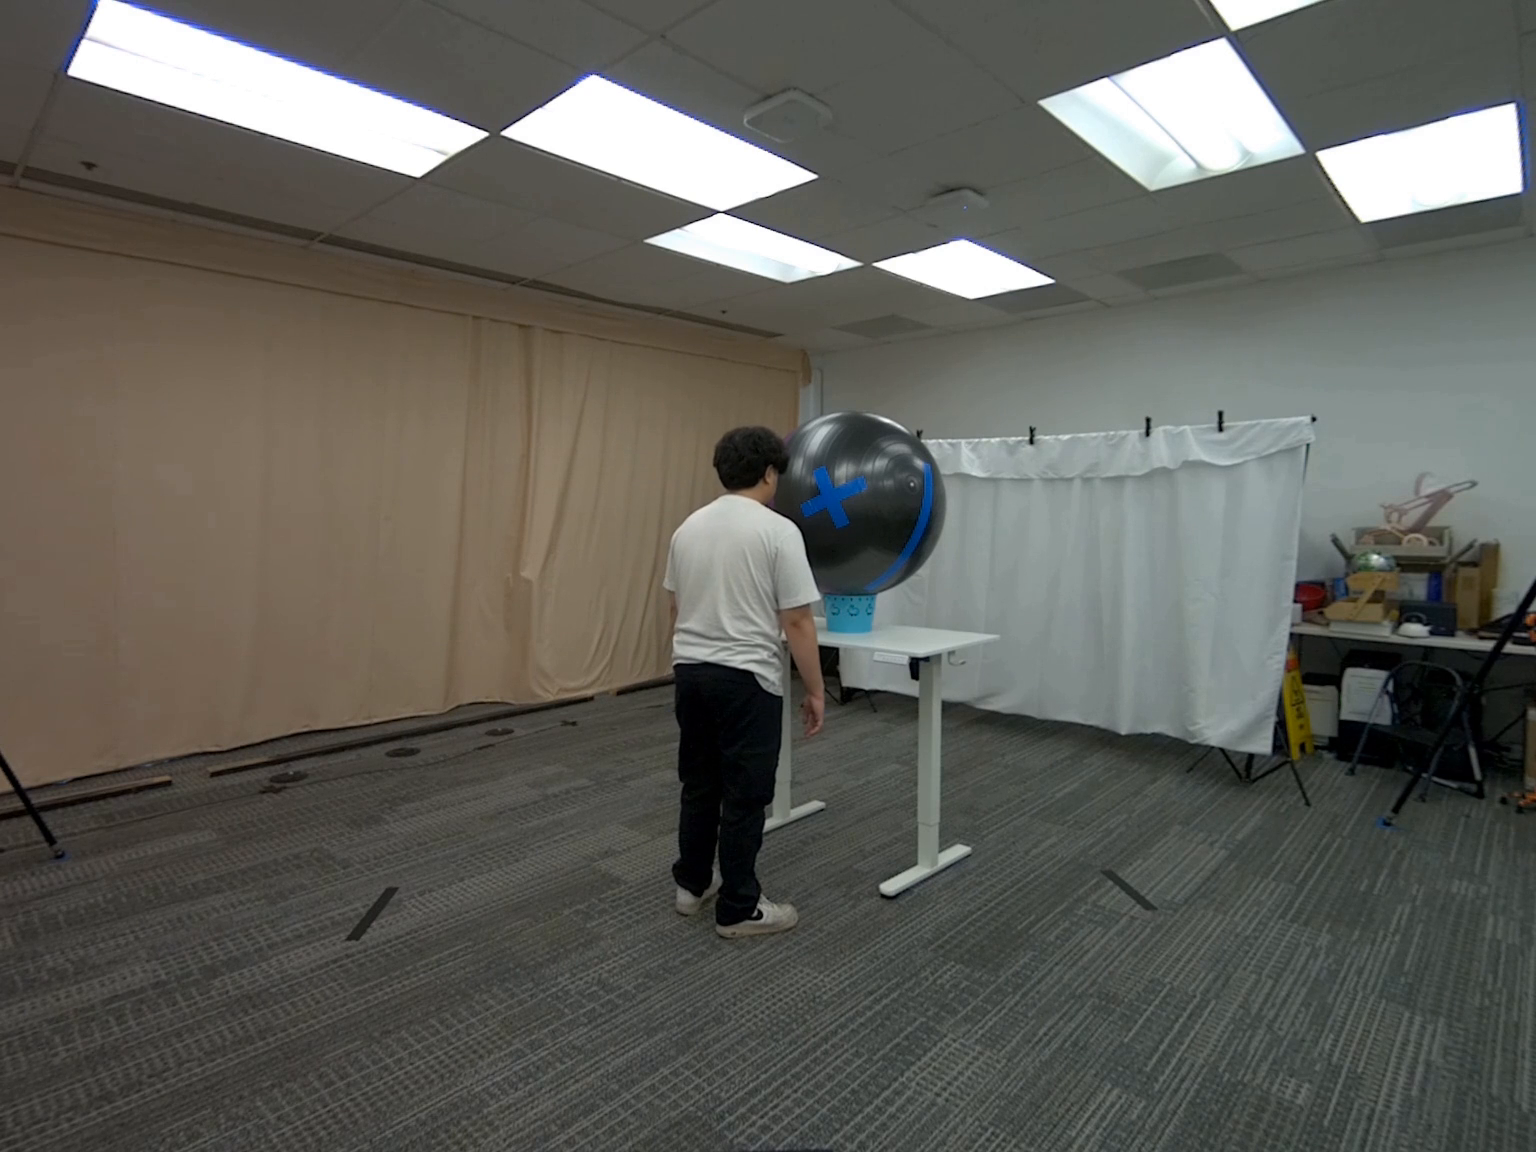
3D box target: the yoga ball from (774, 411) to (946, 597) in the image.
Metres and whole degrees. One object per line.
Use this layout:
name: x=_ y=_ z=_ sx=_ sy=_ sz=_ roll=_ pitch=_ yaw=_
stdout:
yoga ball: x=0.337 y=-0.278 z=3.434 sx=0.757 sy=0.756 sz=0.760 roll=0 pitch=4 yaw=-2
